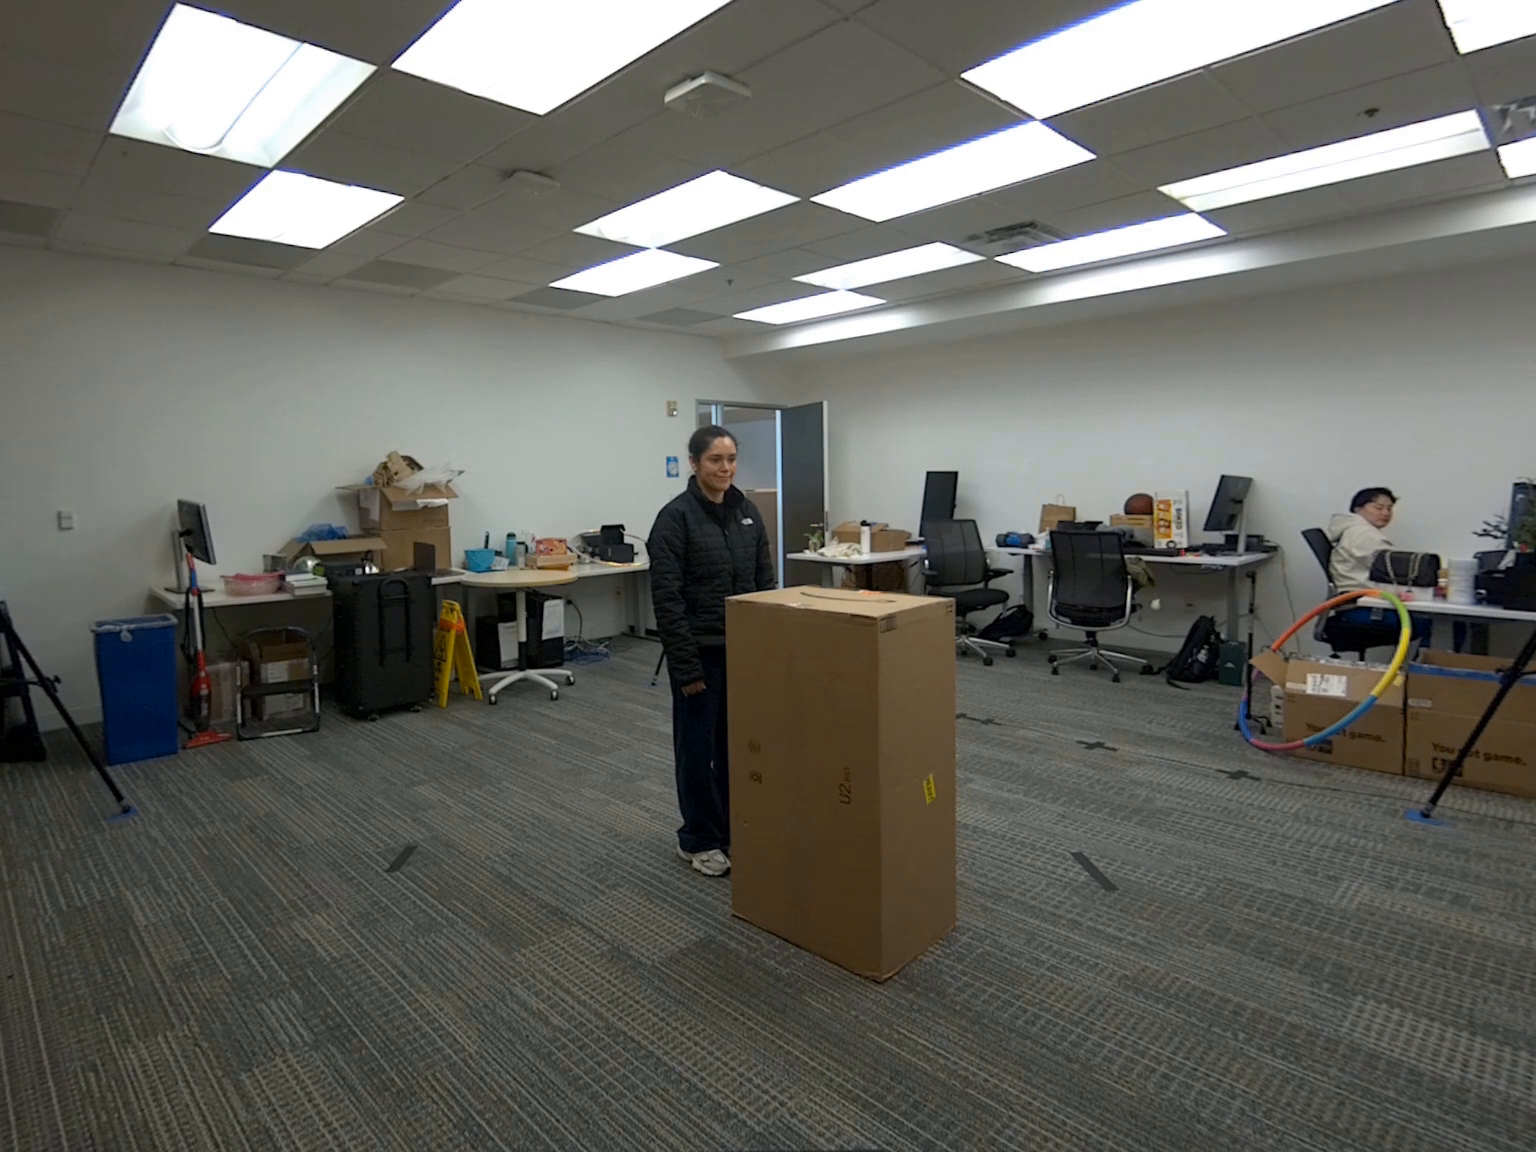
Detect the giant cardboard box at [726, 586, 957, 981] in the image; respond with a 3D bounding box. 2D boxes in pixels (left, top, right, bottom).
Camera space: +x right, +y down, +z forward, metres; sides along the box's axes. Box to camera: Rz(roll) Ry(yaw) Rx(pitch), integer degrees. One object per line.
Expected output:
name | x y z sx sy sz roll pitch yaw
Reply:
giant cardboard box | 0.228 0.581 2.677 0.595 1.022 0.415 3 5 43
